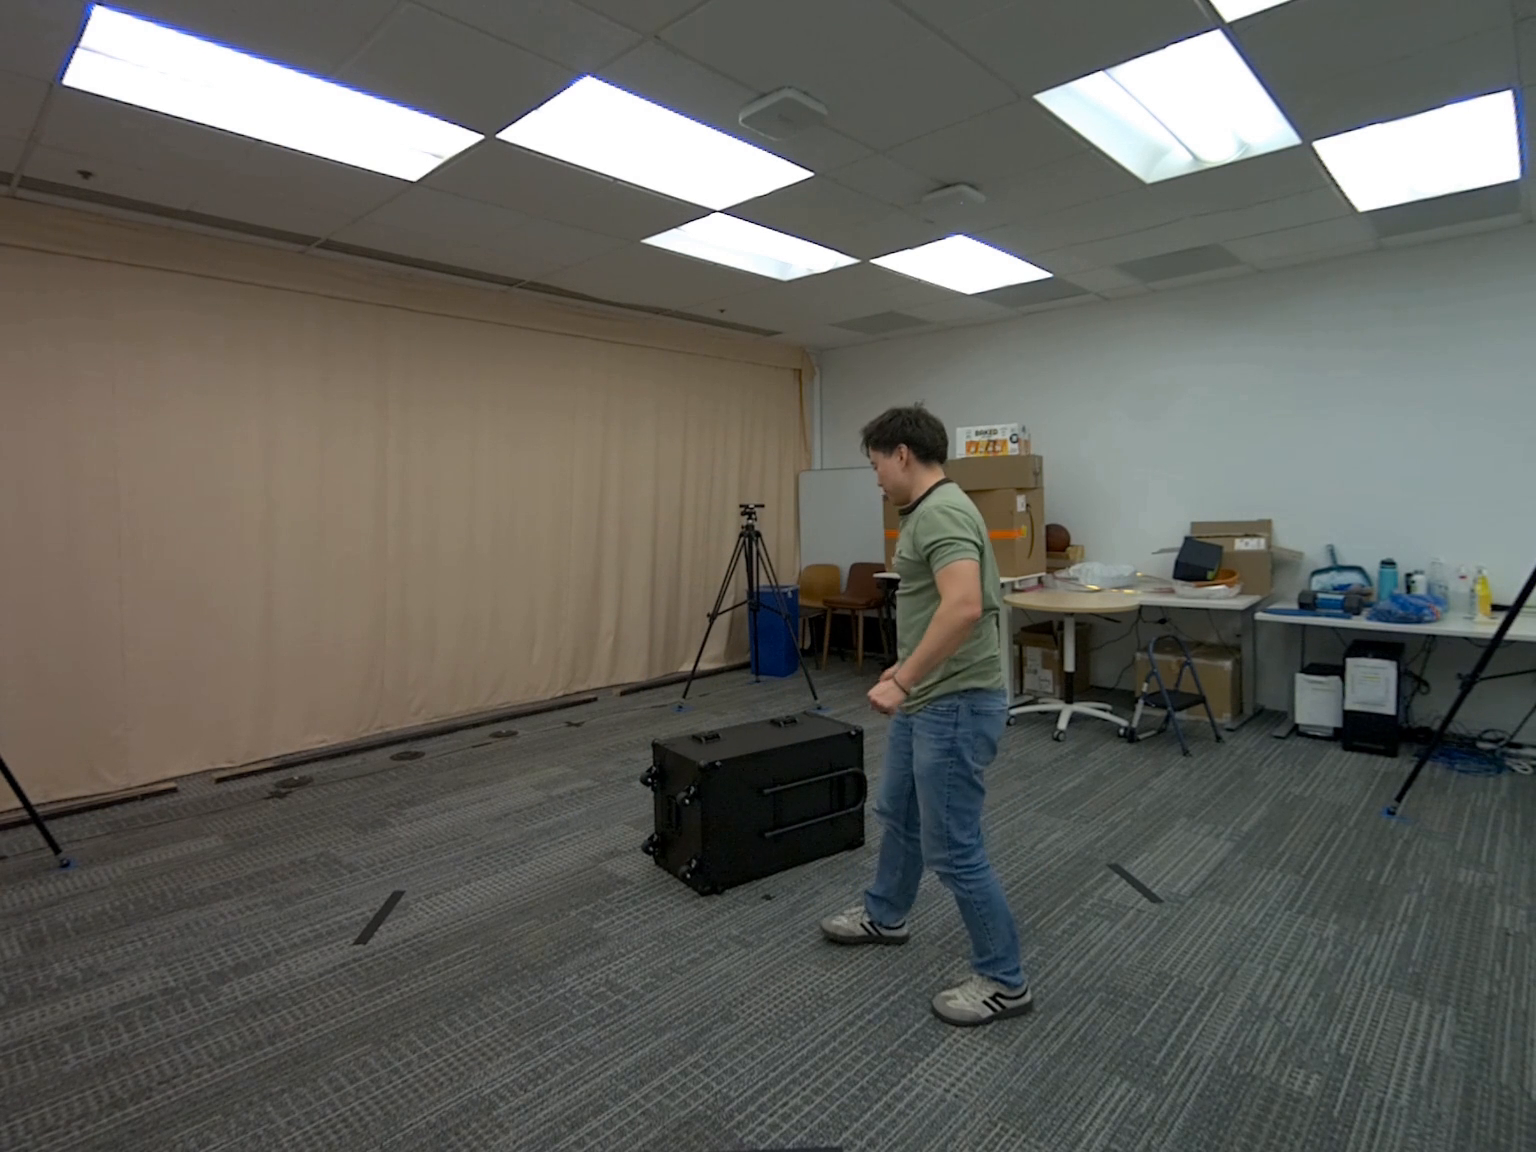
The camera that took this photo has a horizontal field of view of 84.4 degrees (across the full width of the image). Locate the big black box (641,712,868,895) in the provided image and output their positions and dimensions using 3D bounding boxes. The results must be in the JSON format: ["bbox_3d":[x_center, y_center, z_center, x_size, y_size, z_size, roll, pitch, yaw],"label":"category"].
[{"bbox_3d":[-0.046,0.871,3.309,0.837,0.520,0.408,-4,5,-34],"label":"big black box"}]
